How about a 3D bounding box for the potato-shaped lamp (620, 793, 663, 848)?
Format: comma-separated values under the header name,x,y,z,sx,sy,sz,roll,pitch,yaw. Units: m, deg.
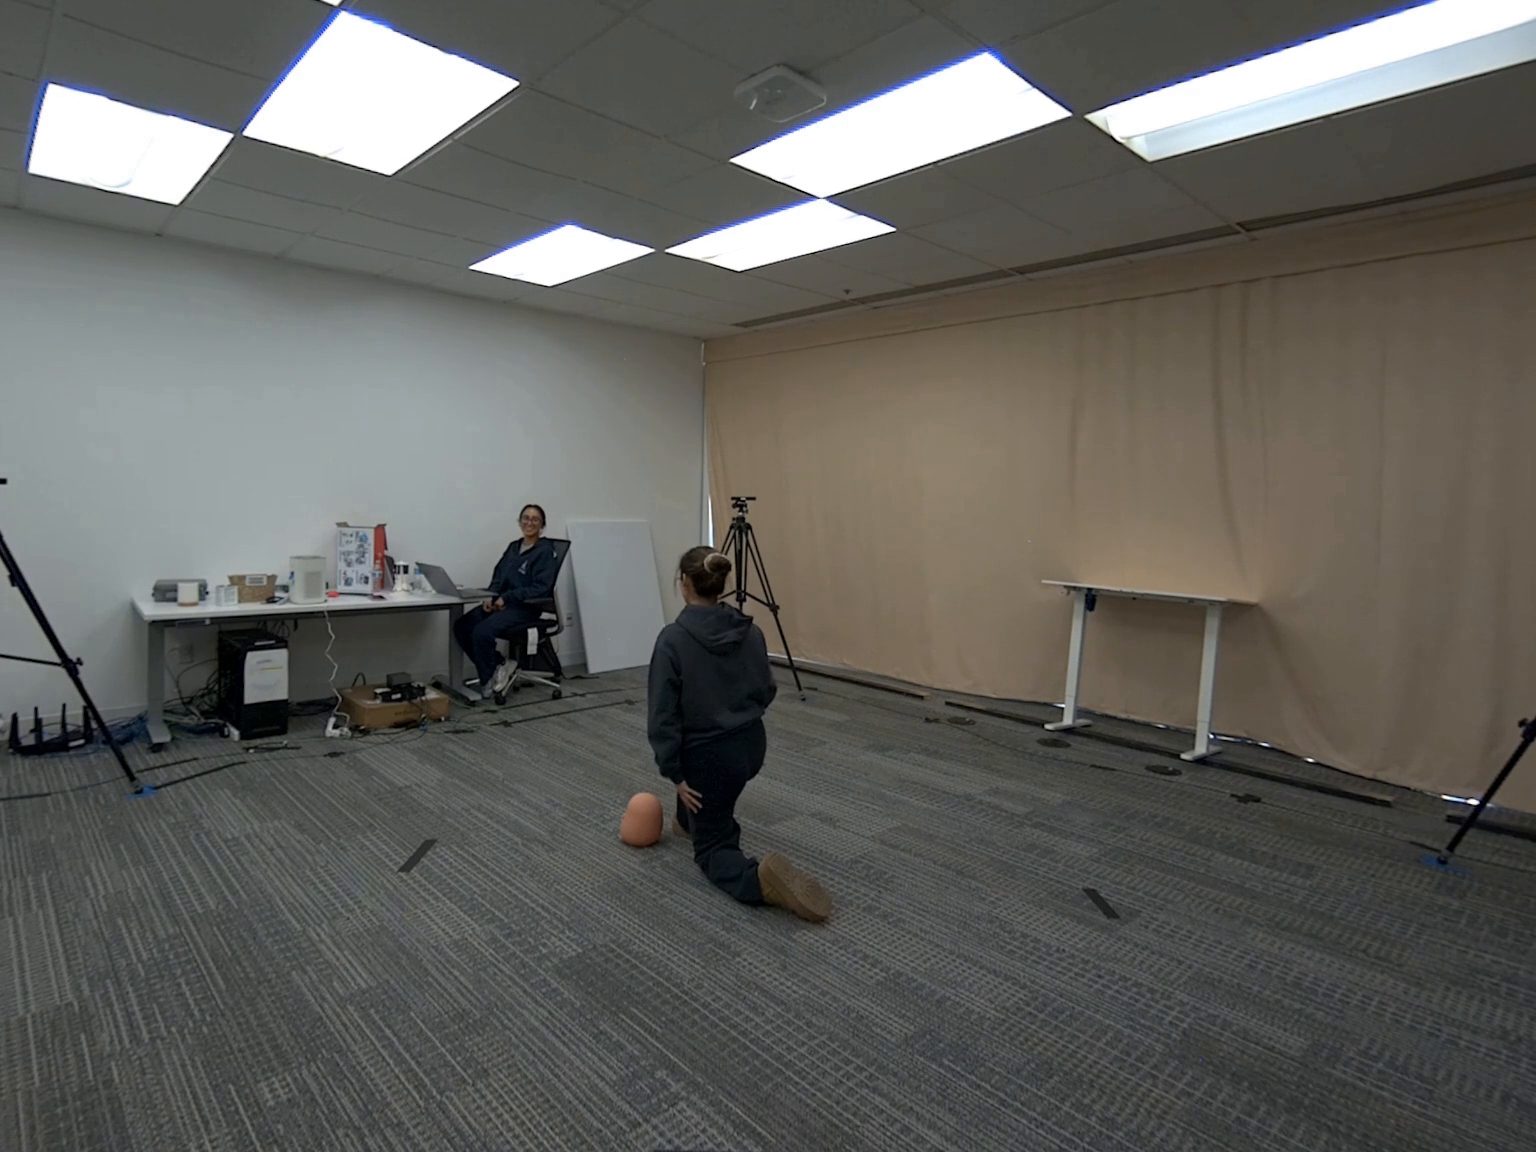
name,x,y,z,sx,sy,sz,roll,pitch,yaw
potato-shaped lamp,-0.523,0.975,3.391,0.176,0.197,0.161,5,5,39
